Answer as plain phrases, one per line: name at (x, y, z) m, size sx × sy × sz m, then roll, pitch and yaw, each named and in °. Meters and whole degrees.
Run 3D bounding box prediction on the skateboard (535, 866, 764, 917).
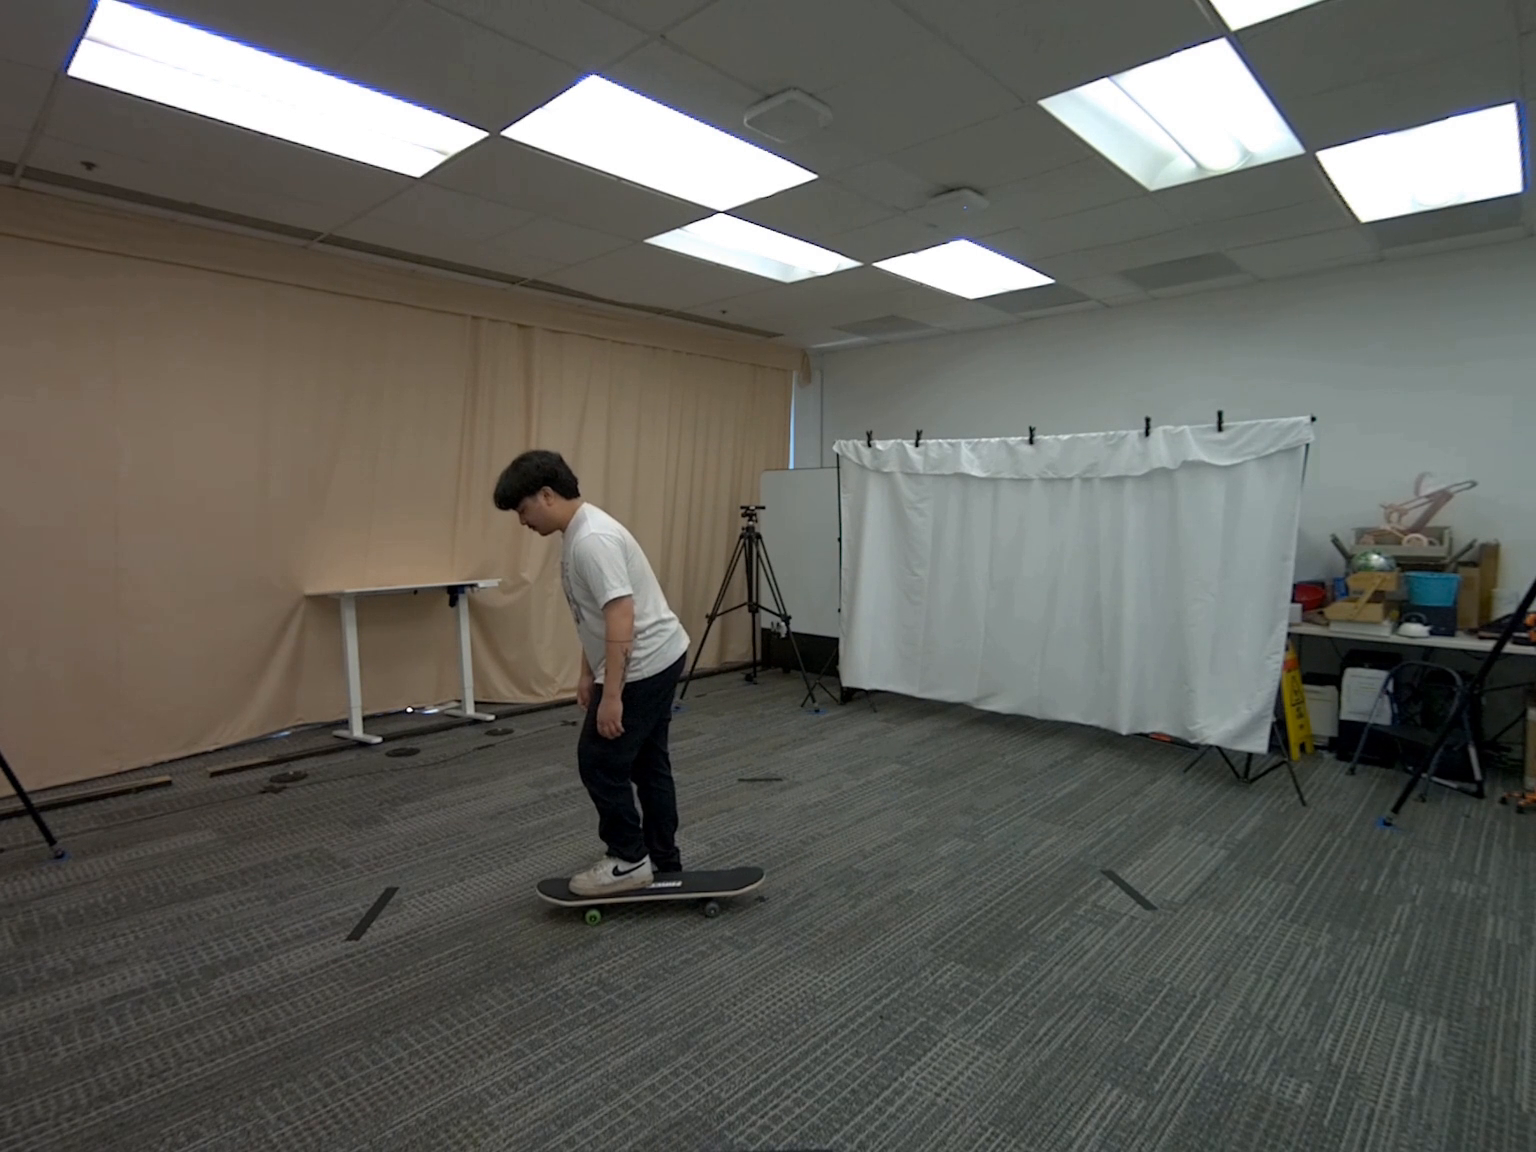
skateboard at (-0.390, 1.094, 2.905) m, size 0.780 × 0.110 × 0.195 m, roll -1°, pitch 4°, yaw -6°
